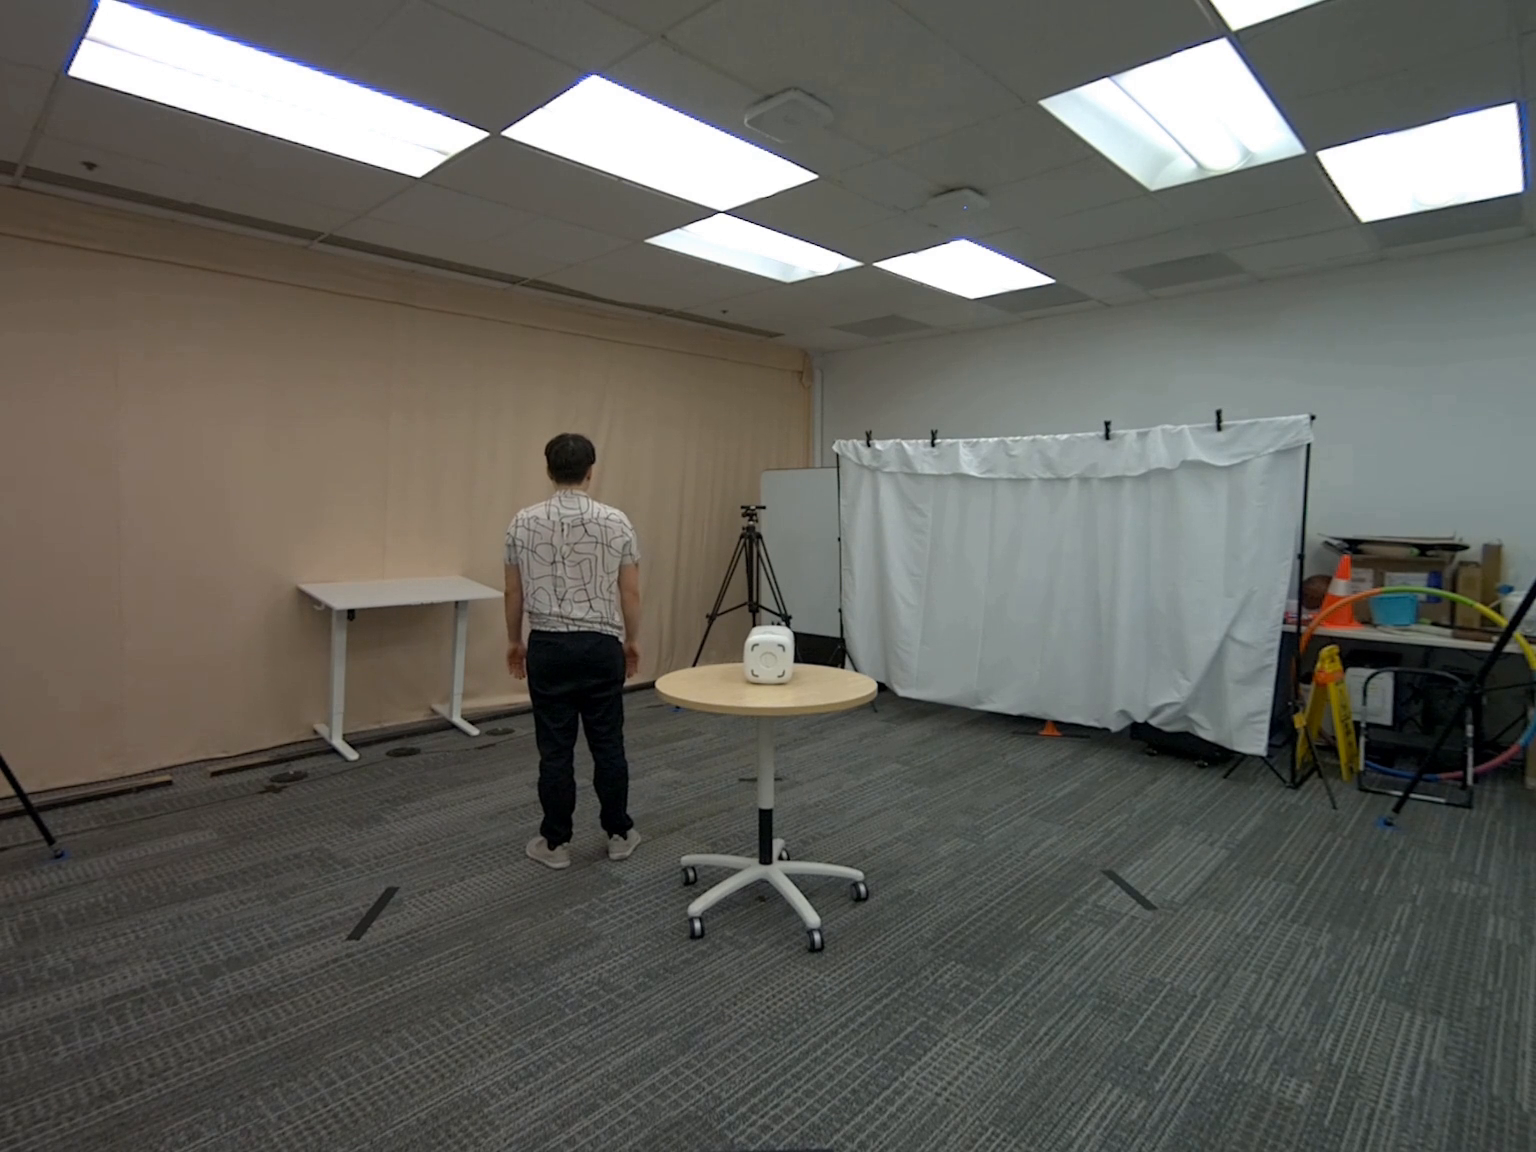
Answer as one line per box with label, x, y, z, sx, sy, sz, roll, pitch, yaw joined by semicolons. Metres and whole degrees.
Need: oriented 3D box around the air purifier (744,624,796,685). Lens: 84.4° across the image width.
air purifier;0.006;0.275;2.986;0.172;0.171;0.265;1;4;2
